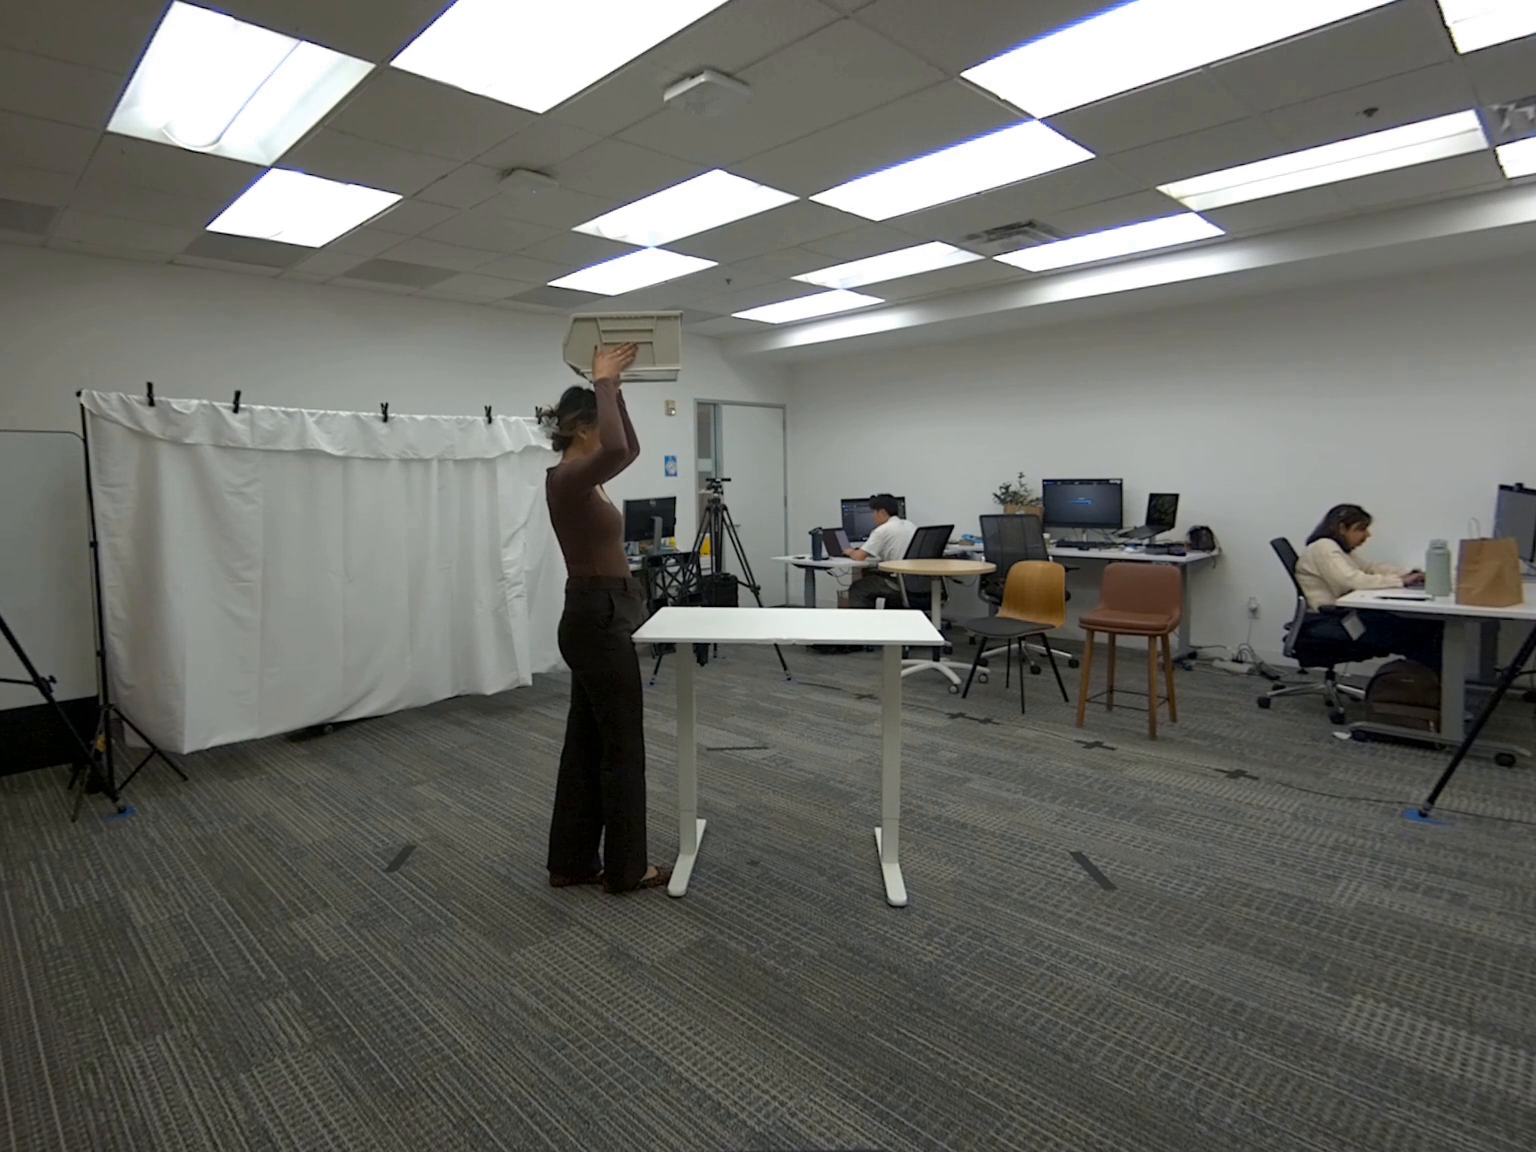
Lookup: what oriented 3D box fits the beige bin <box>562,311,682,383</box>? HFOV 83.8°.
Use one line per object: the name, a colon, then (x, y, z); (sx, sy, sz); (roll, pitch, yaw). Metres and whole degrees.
beige bin: (-0.473, -0.758, 2.854); (0.375, 0.188, 0.427); (-1, 8, -6)
